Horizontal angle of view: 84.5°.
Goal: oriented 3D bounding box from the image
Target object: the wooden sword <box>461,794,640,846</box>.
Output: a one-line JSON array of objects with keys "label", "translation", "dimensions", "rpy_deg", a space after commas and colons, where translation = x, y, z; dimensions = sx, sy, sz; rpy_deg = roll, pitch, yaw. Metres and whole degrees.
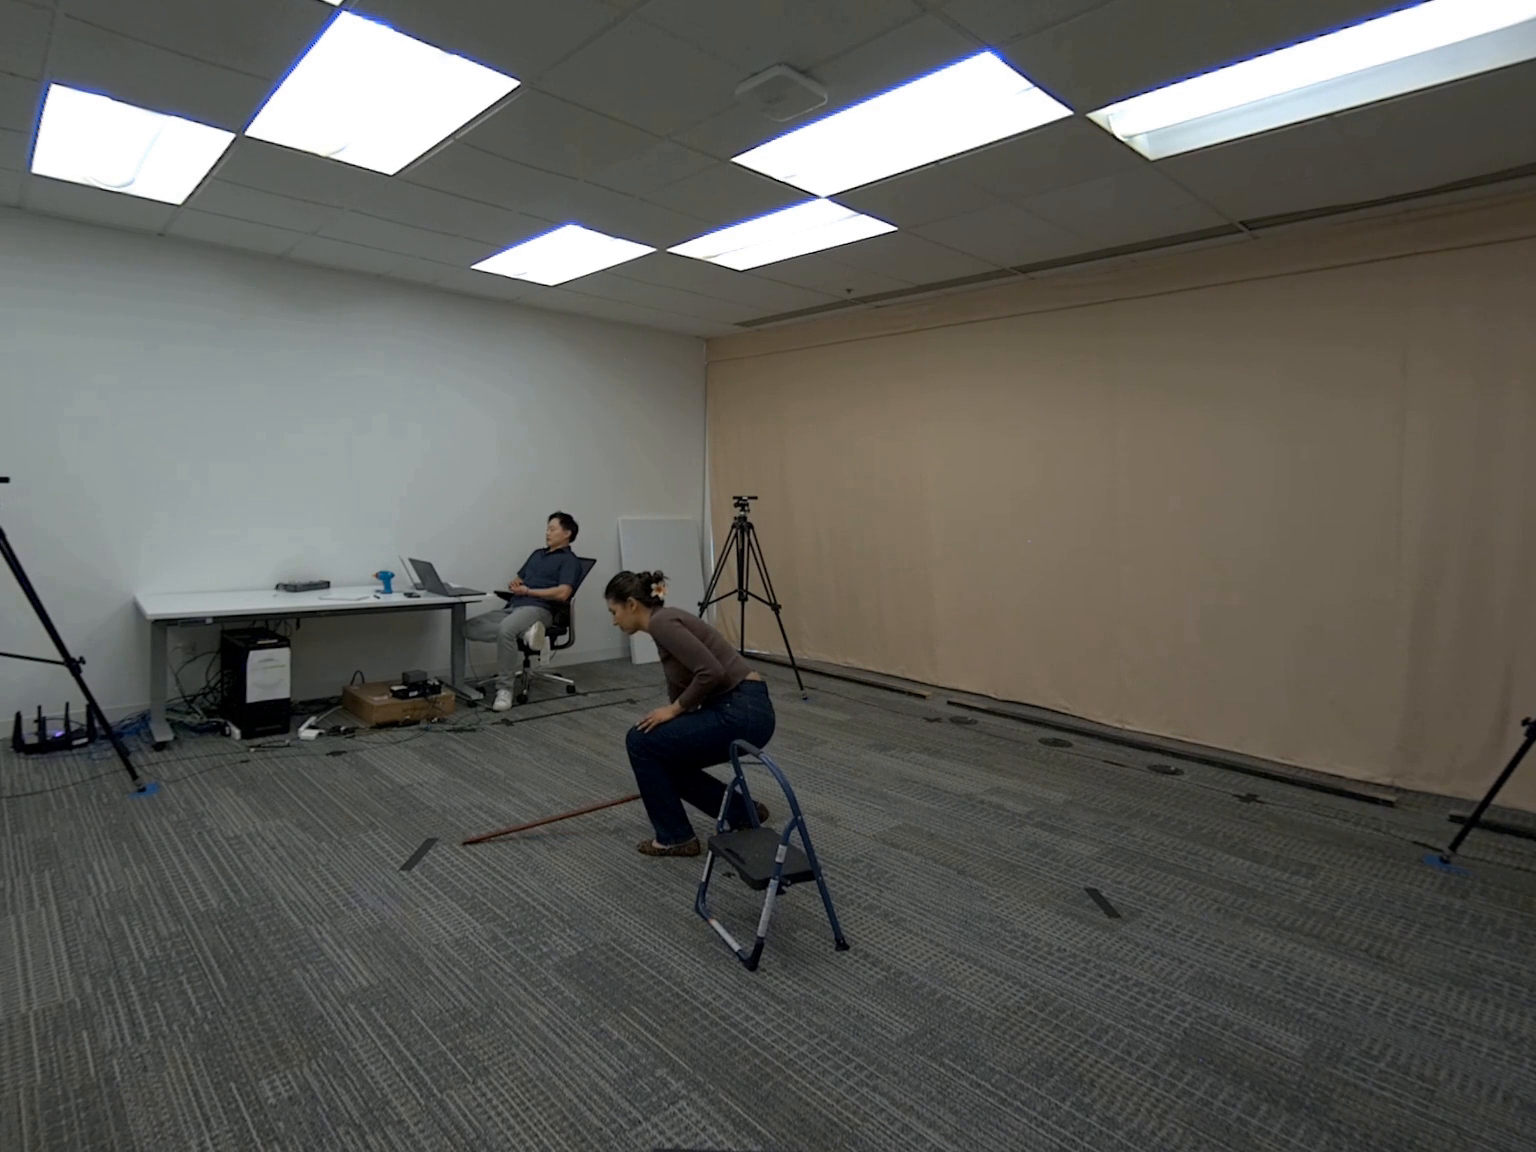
[{"label": "wooden sword", "translation": [-0.735, 0.962, 3.467], "dimensions": [1.014, 0.024, 0.051], "rpy_deg": [-11, -16, -17]}]
